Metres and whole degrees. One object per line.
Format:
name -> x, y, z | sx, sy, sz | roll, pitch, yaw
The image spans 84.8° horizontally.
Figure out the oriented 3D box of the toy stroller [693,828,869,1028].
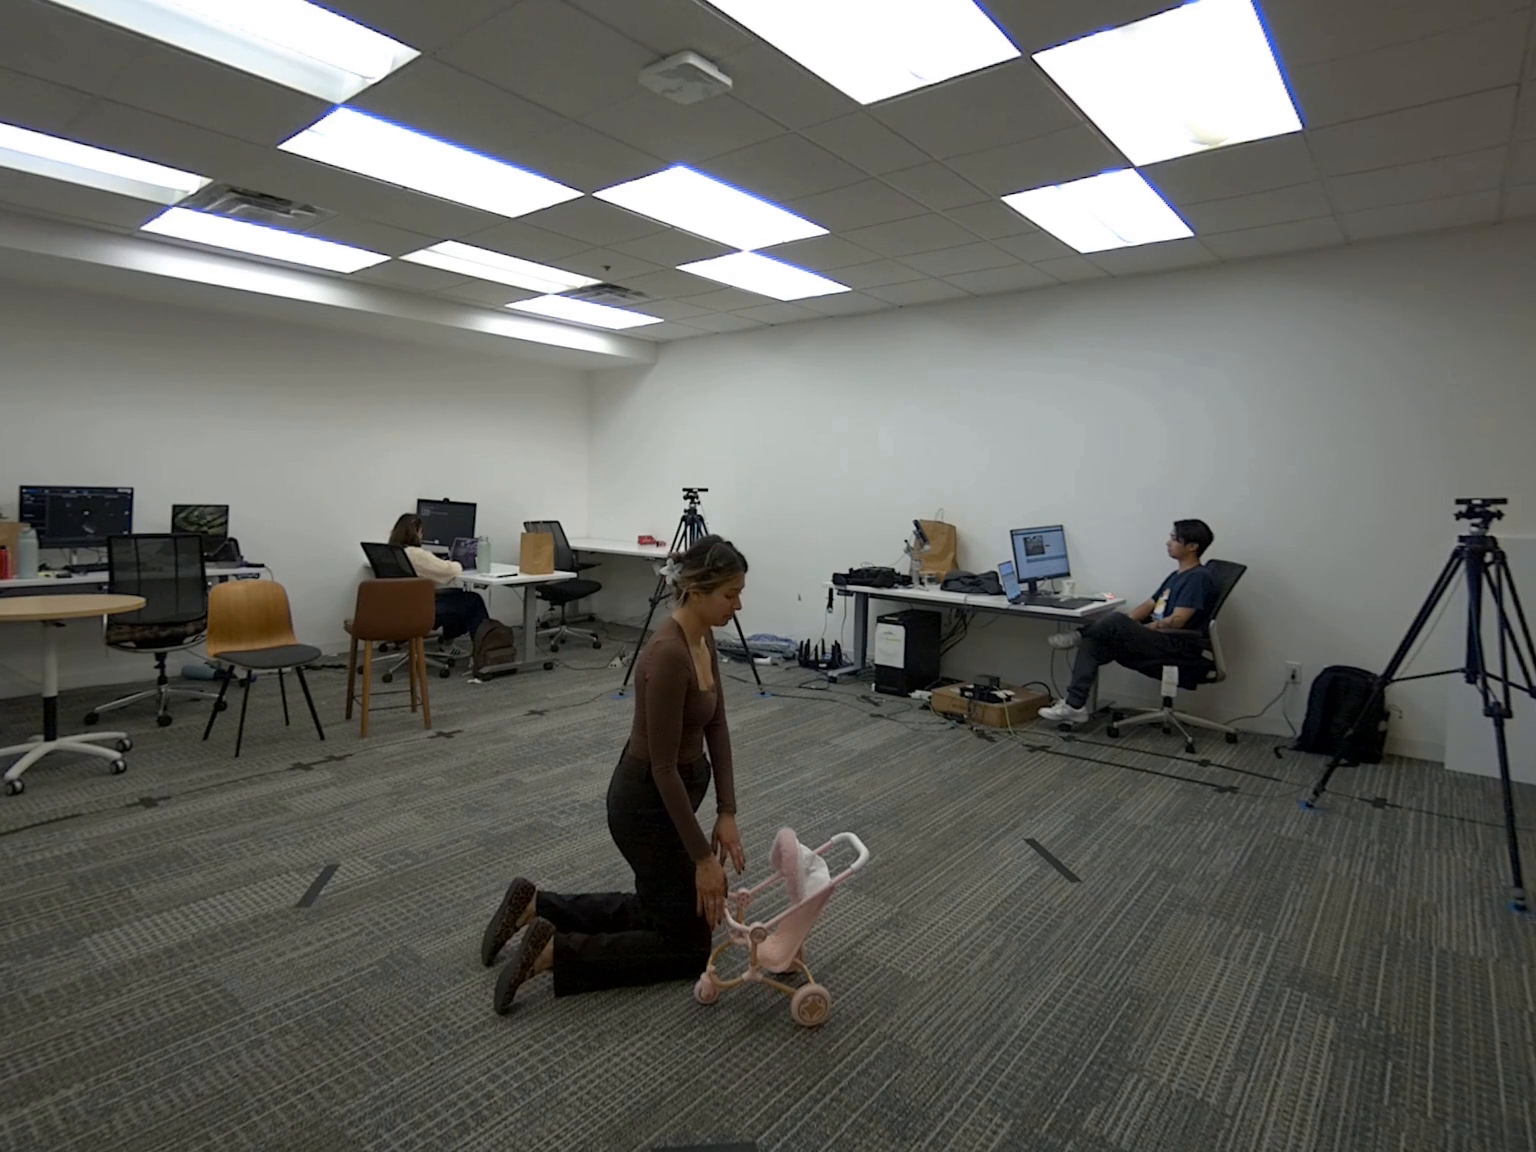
toy stroller -> 0.021, 0.935, 2.309 | 0.338, 0.534, 0.284 | 18, 1, -8
